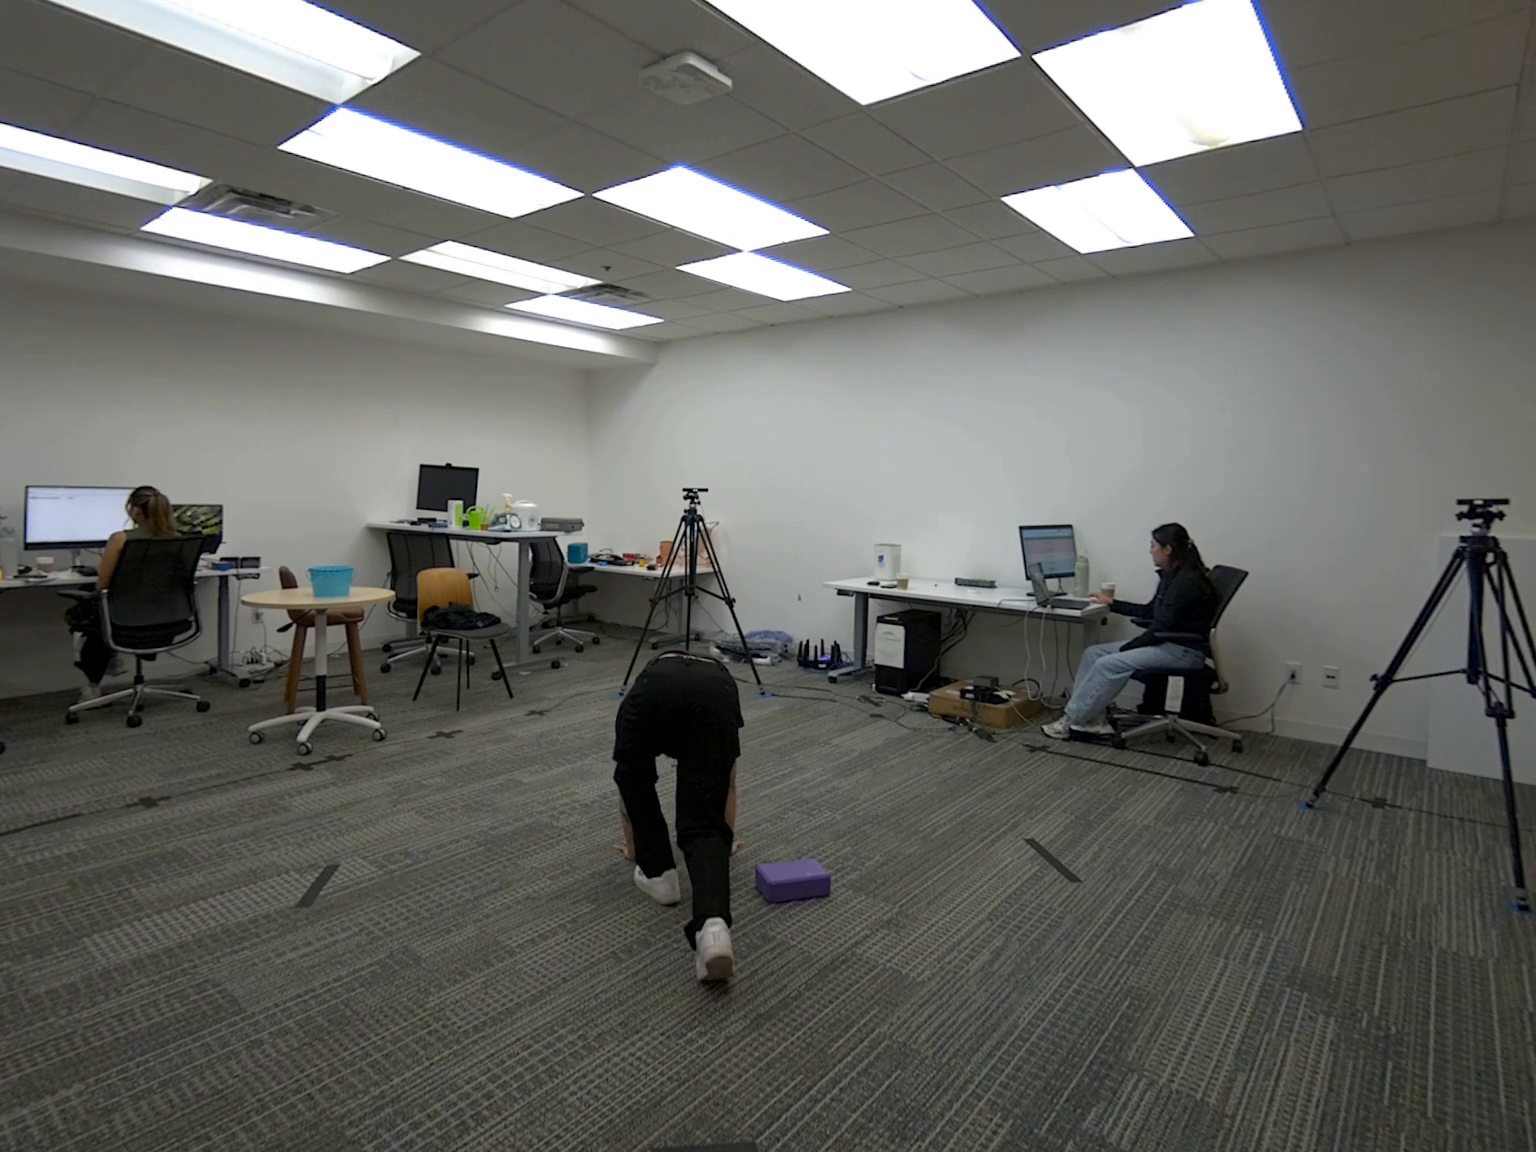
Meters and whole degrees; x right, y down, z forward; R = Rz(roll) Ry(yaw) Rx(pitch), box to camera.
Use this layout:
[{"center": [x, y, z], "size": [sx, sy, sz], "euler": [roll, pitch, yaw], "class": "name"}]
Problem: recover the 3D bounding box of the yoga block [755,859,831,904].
[{"center": [0.079, 1.058, 2.947], "size": [0.225, 0.076, 0.152], "euler": [-1, 5, -18], "class": "yoga block"}]
